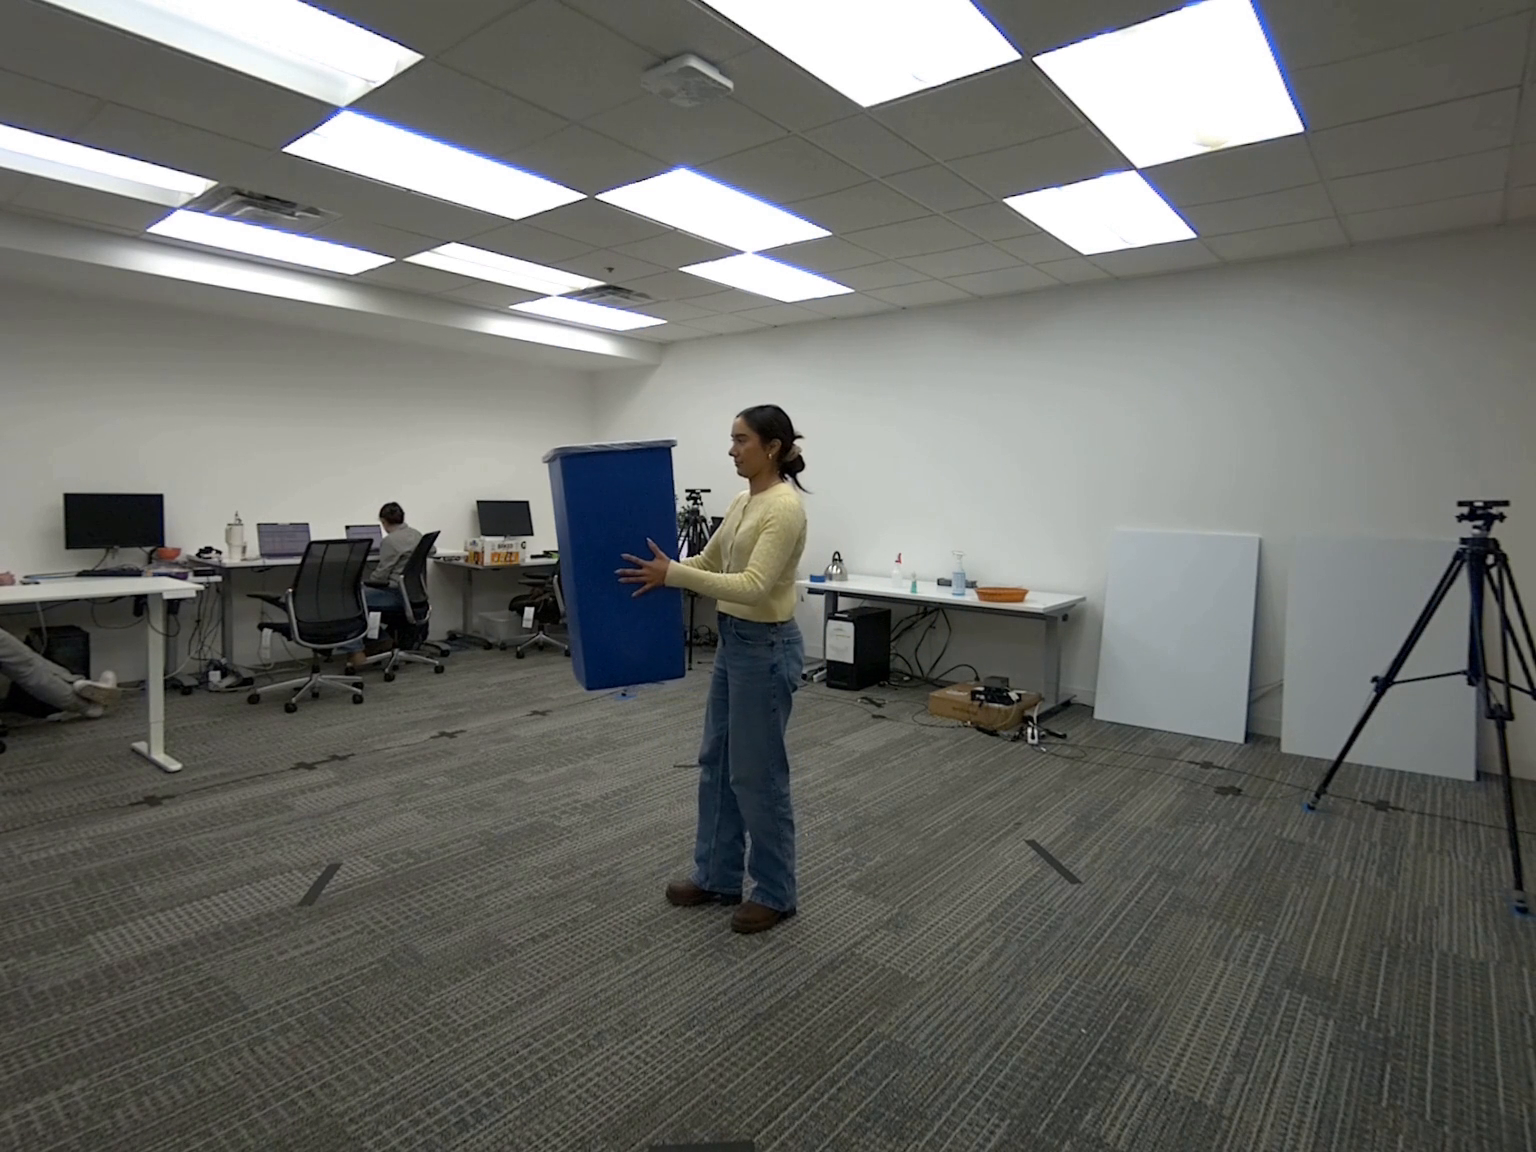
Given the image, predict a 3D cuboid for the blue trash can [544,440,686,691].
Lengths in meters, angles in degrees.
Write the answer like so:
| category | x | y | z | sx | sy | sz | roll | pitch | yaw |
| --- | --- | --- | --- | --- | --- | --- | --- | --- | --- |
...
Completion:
| category | x | y | z | sx | sy | sz | roll | pitch | yaw |
| --- | --- | --- | --- | --- | --- | --- | --- | --- | --- |
| blue trash can | -0.478 | -0.048 | 2.627 | 0.367 | 0.712 | 0.385 | -5 | 2 | -19 |
